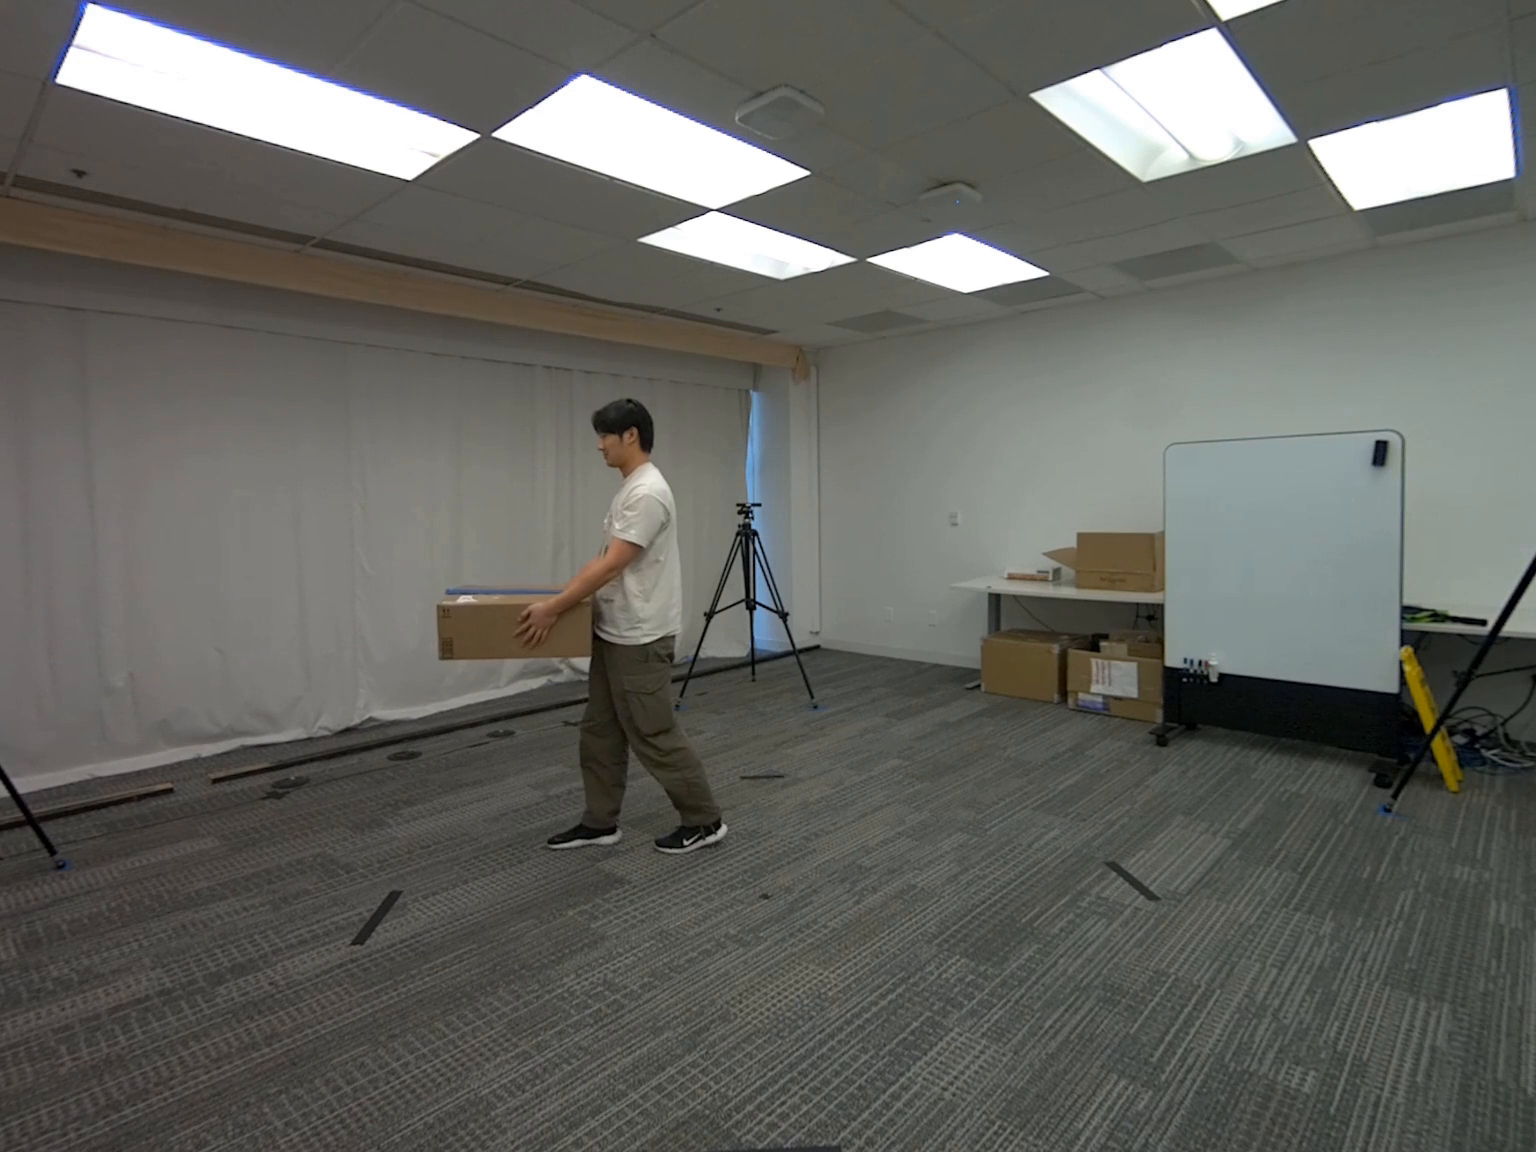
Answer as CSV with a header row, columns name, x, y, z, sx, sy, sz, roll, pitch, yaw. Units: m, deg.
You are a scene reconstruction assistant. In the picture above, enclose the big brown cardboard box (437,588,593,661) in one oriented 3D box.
name,x,y,z,sx,sy,sz,roll,pitch,yaw
big brown cardboard box,-0.987,0.176,3.356,0.583,0.232,0.423,1,8,-9
